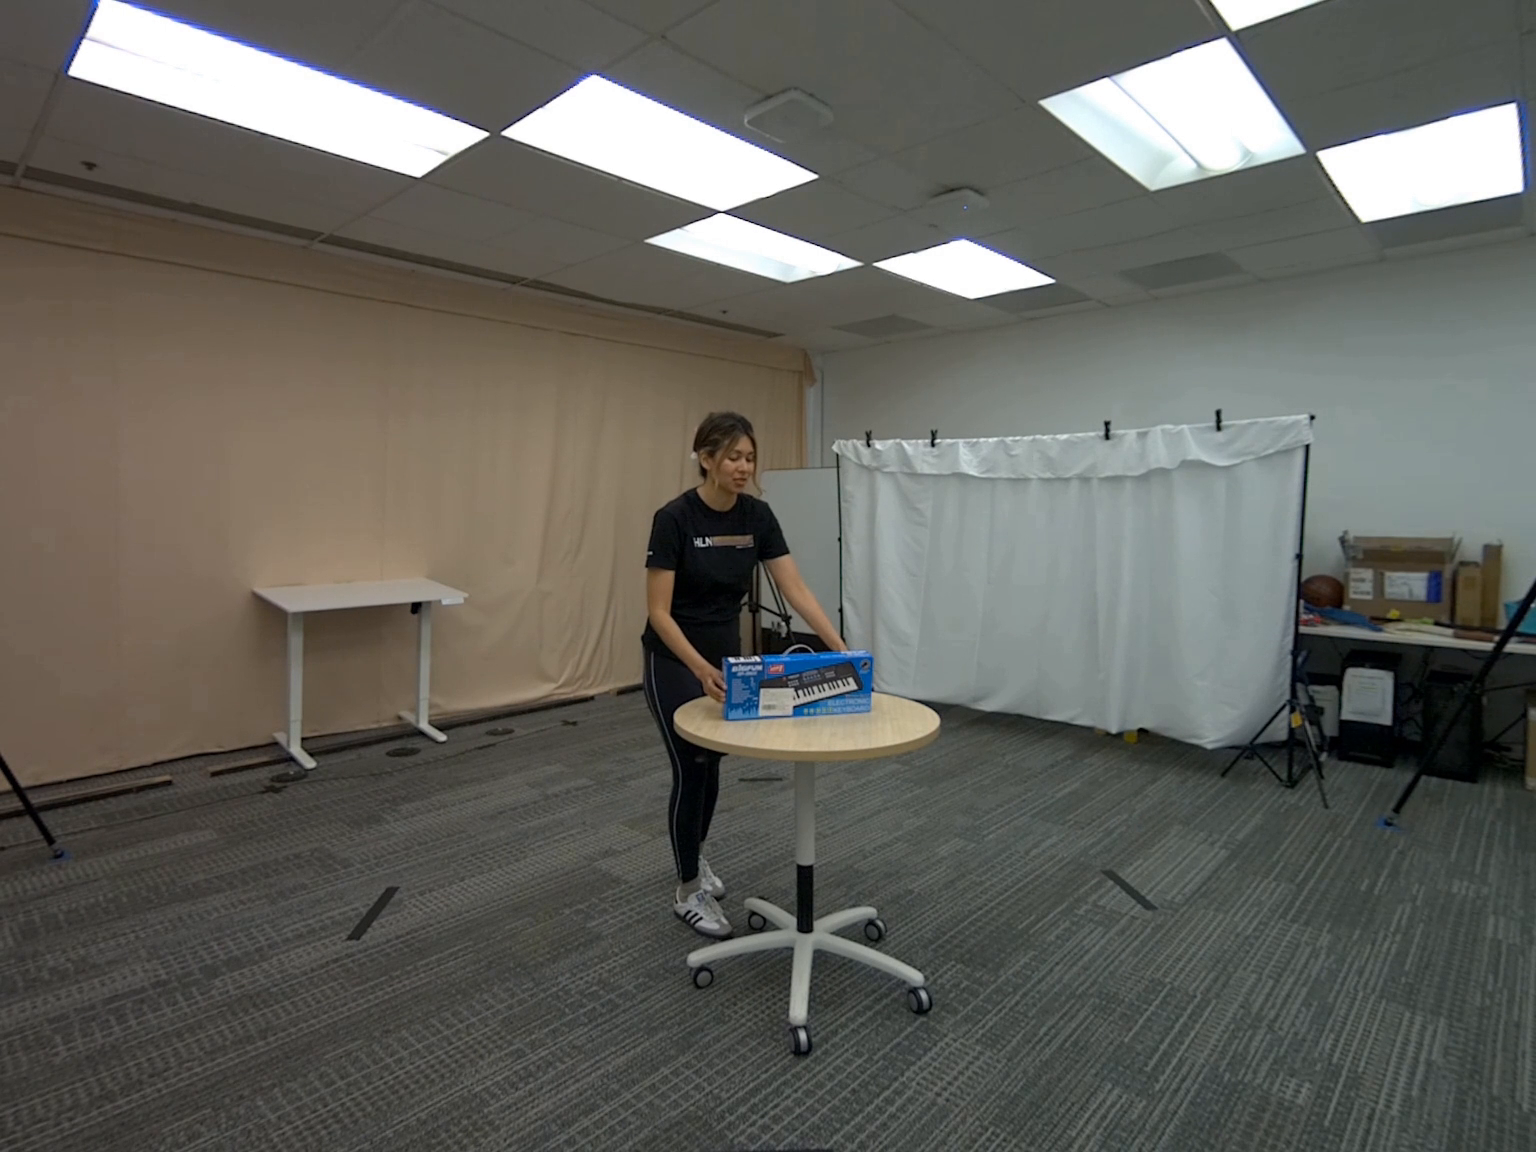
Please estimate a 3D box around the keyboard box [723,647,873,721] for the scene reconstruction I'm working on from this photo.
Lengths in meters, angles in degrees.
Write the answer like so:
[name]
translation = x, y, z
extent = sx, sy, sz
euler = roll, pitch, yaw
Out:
[keyboard box]
translation = 0.091, 0.316, 2.431
extent = 0.431, 0.175, 0.060
euler = 0, 6, -13
